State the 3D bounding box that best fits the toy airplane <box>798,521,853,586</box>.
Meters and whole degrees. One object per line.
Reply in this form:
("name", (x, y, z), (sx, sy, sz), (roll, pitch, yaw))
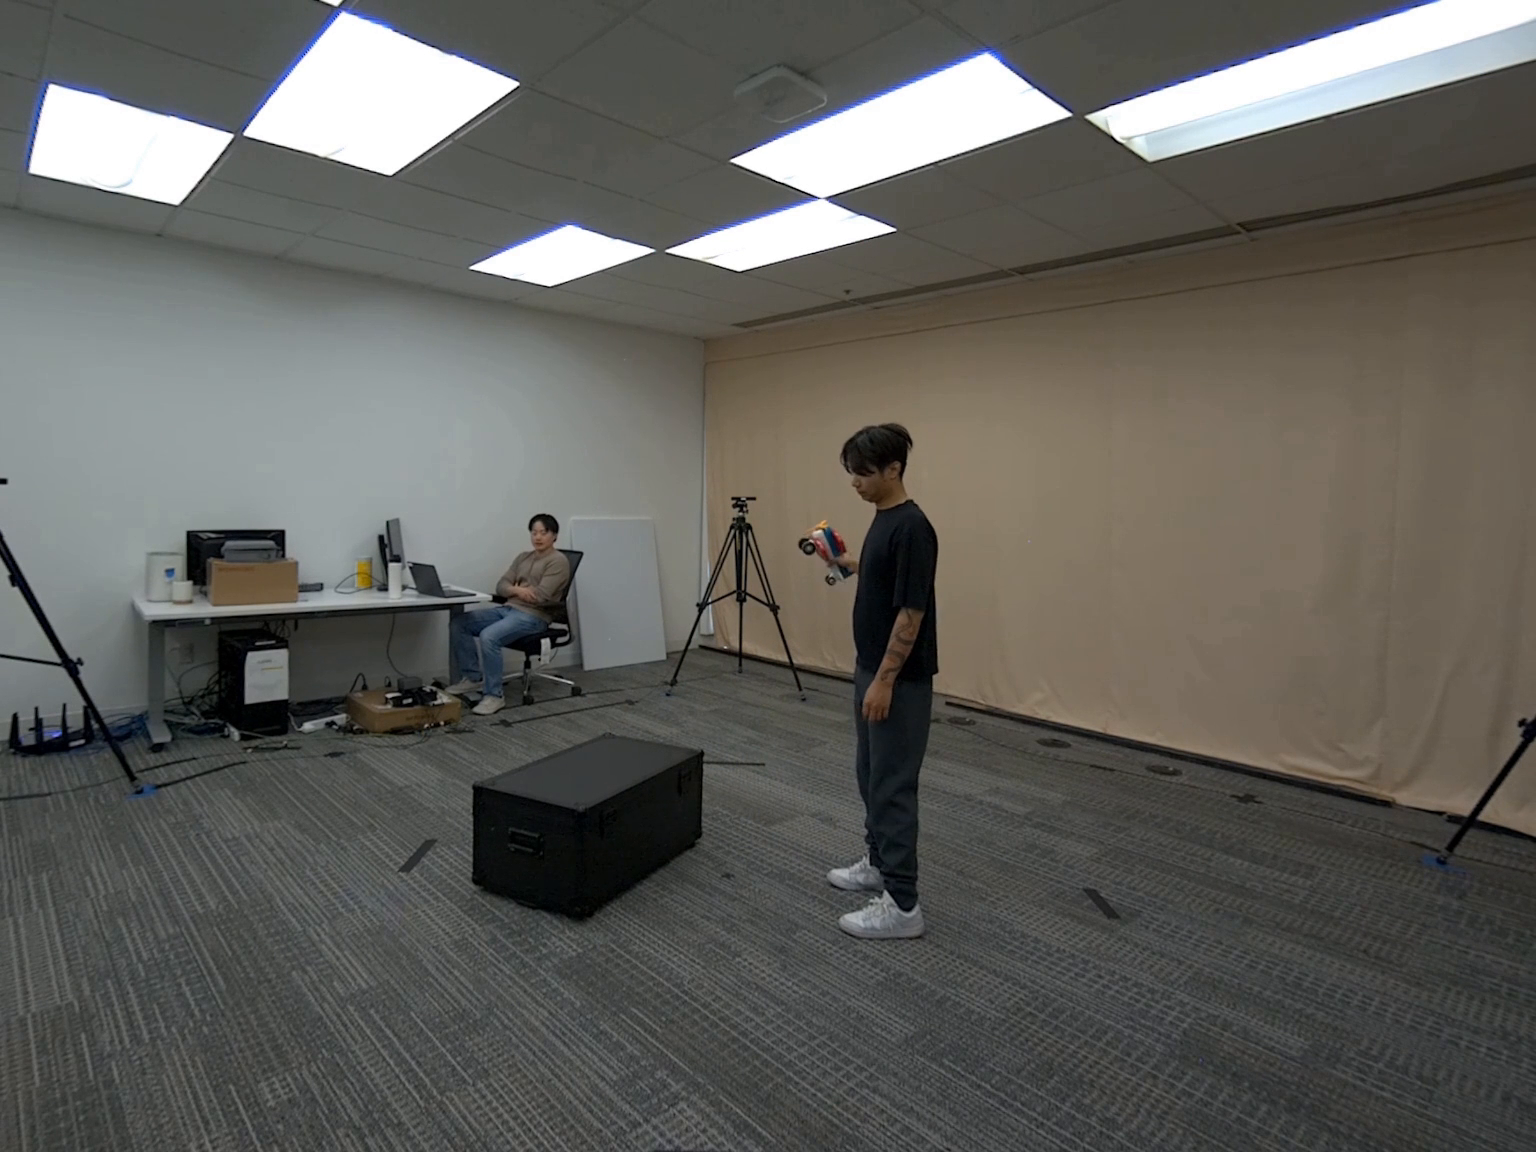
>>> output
("toy airplane", (0.231, -0.098, 3.457), (0.251, 0.156, 0.259), (52, 1, -41))
